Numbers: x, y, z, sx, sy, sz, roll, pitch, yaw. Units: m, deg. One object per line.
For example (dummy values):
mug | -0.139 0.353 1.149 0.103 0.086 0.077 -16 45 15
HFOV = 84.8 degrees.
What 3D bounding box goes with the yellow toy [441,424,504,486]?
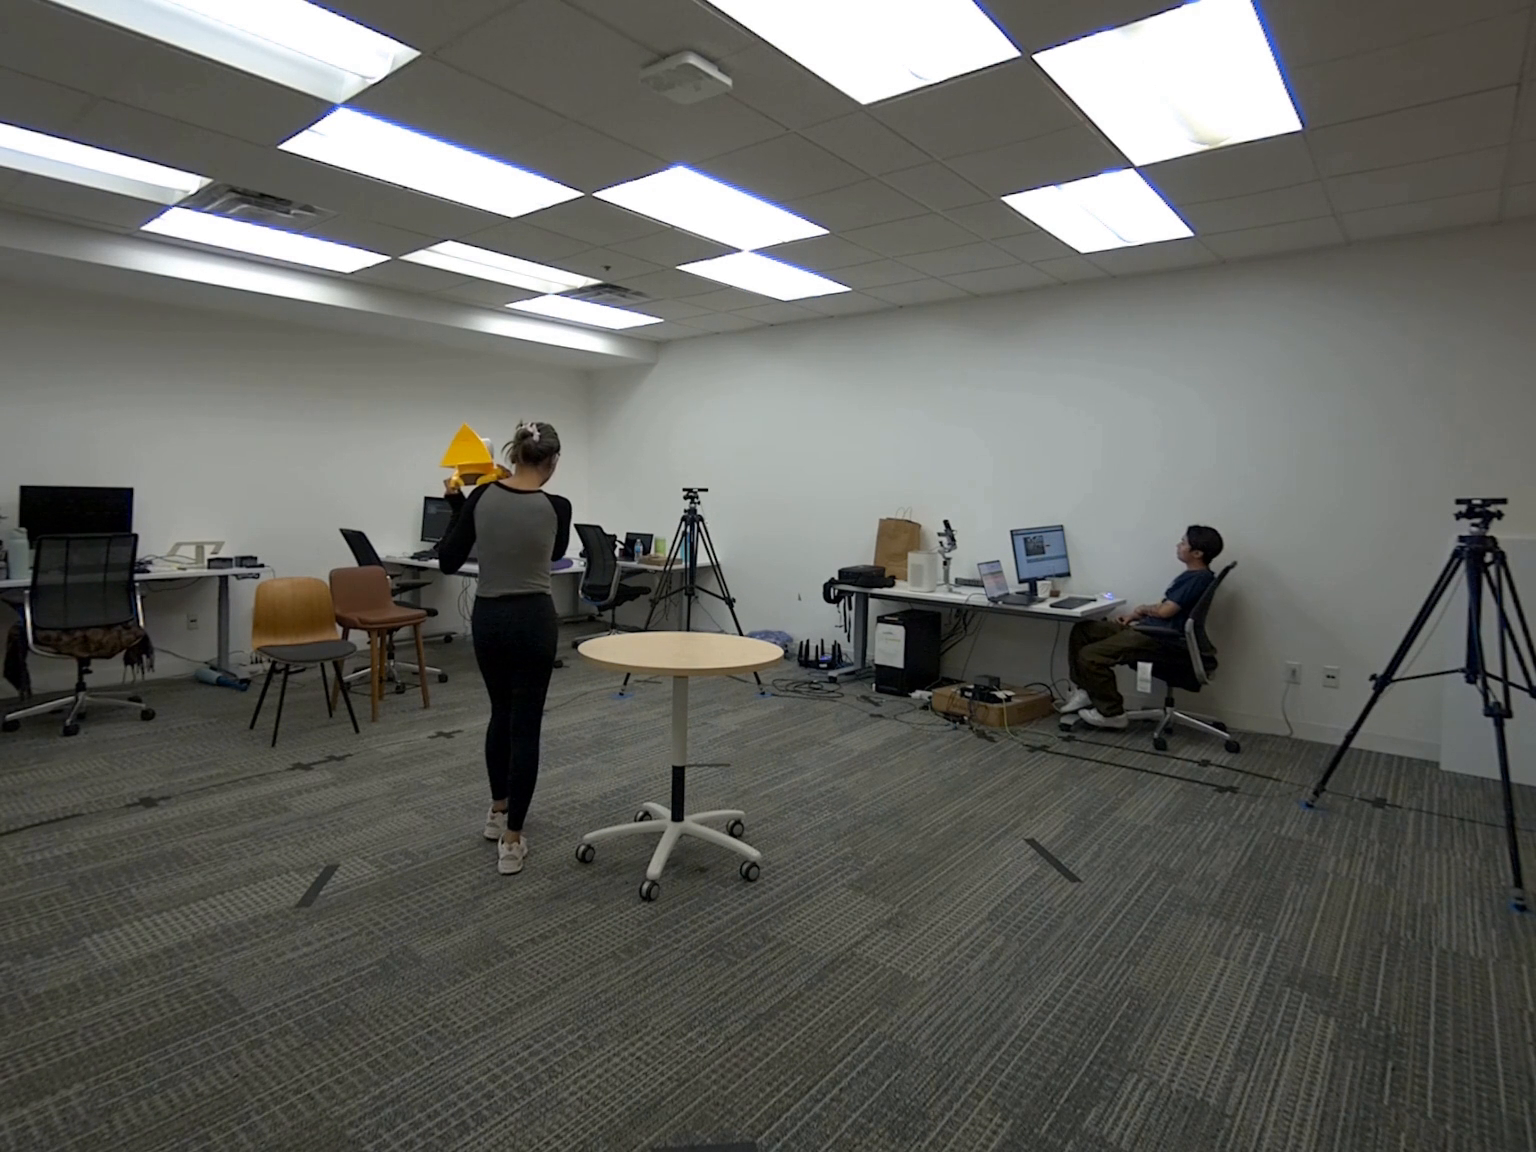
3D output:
yellow toy | -1.108 -0.460 3.163 0.207 0.229 0.193 -4 9 9
